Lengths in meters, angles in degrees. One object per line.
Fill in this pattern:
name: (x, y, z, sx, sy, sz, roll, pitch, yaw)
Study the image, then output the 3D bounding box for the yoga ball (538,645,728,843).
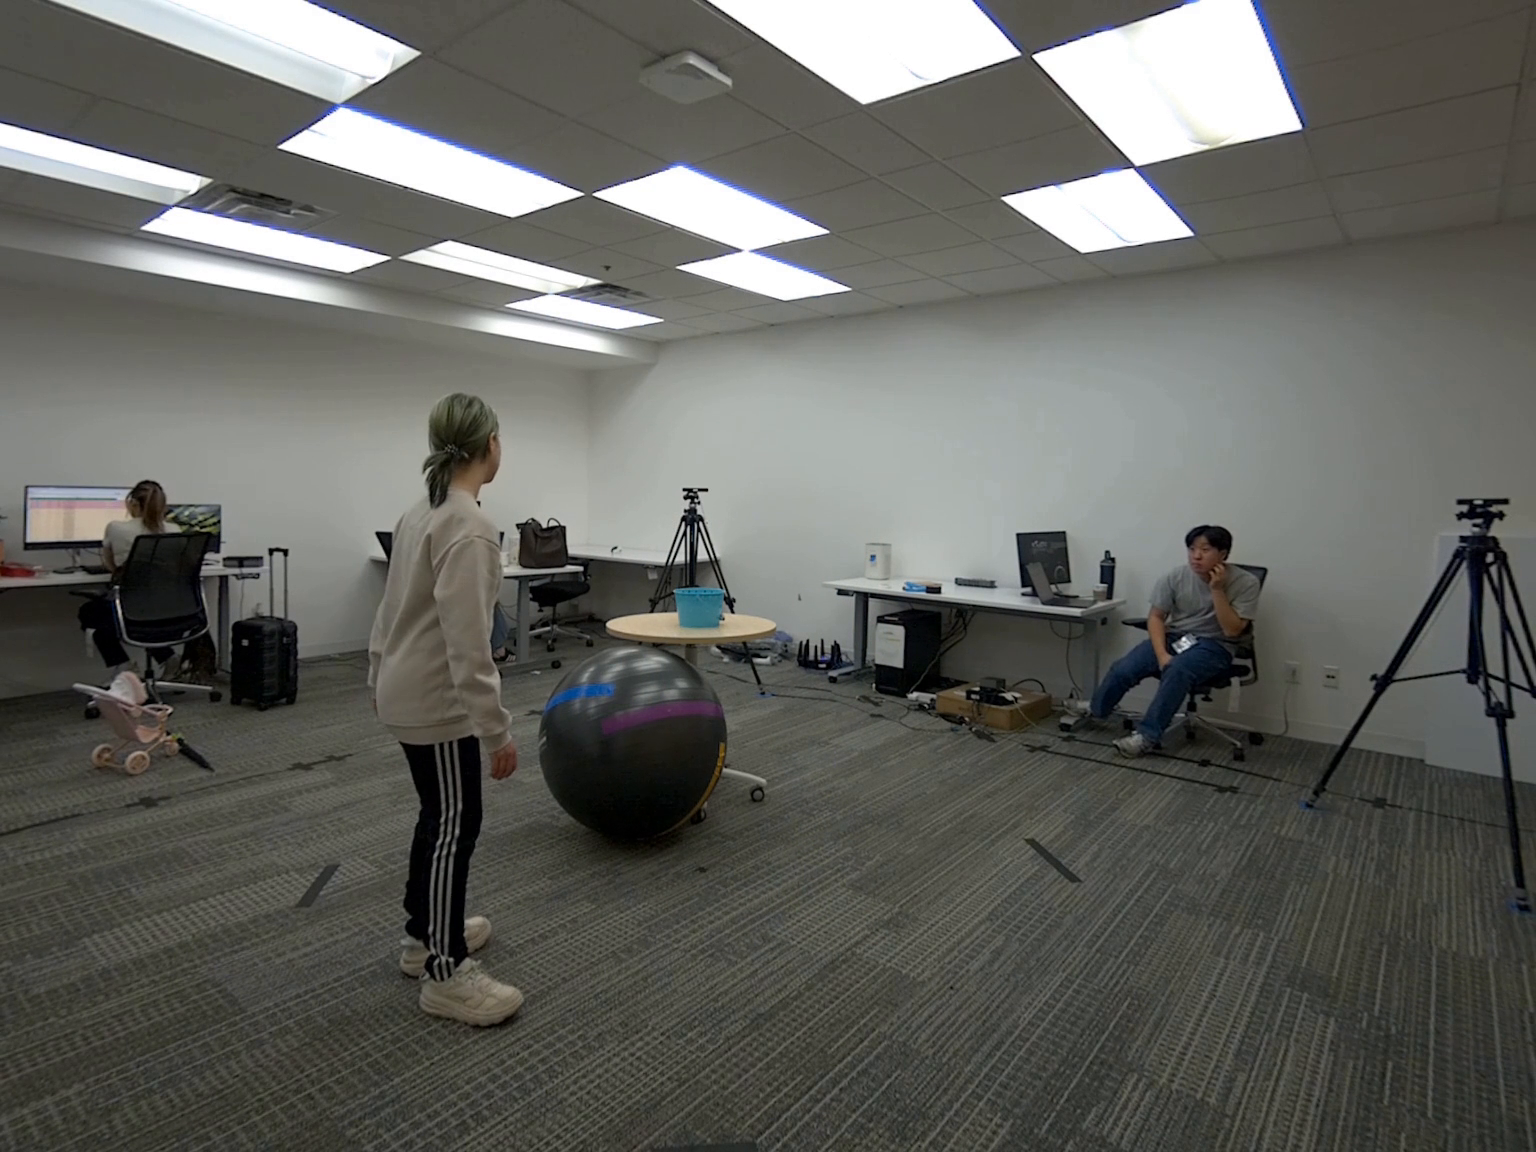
yoga ball: (-0.564, 0.663, 3.441, 0.757, 0.756, 0.762, 1, 4, -2)
